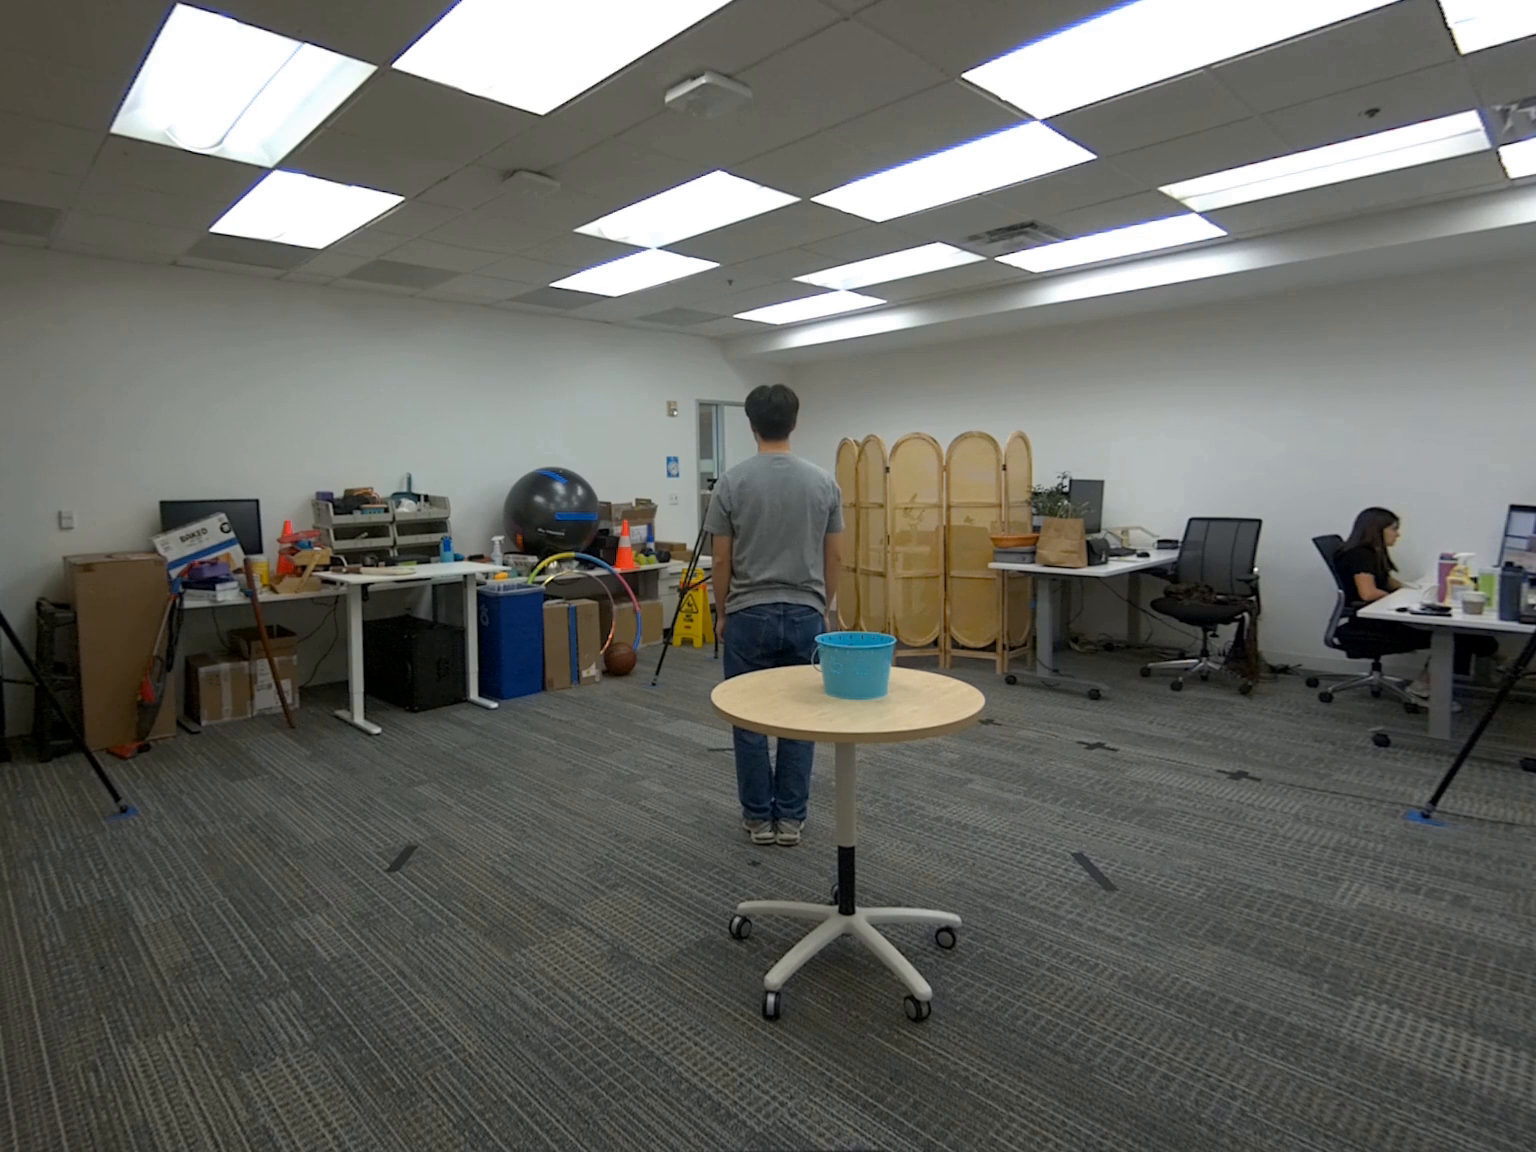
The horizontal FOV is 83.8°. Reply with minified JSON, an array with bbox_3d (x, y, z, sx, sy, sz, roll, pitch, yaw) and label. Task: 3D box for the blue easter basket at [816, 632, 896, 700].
[{"bbox_3d":[0.258,0.260,2.454,0.243,0.155,0.245,-1,6,-2],"label":"blue easter basket"}]
